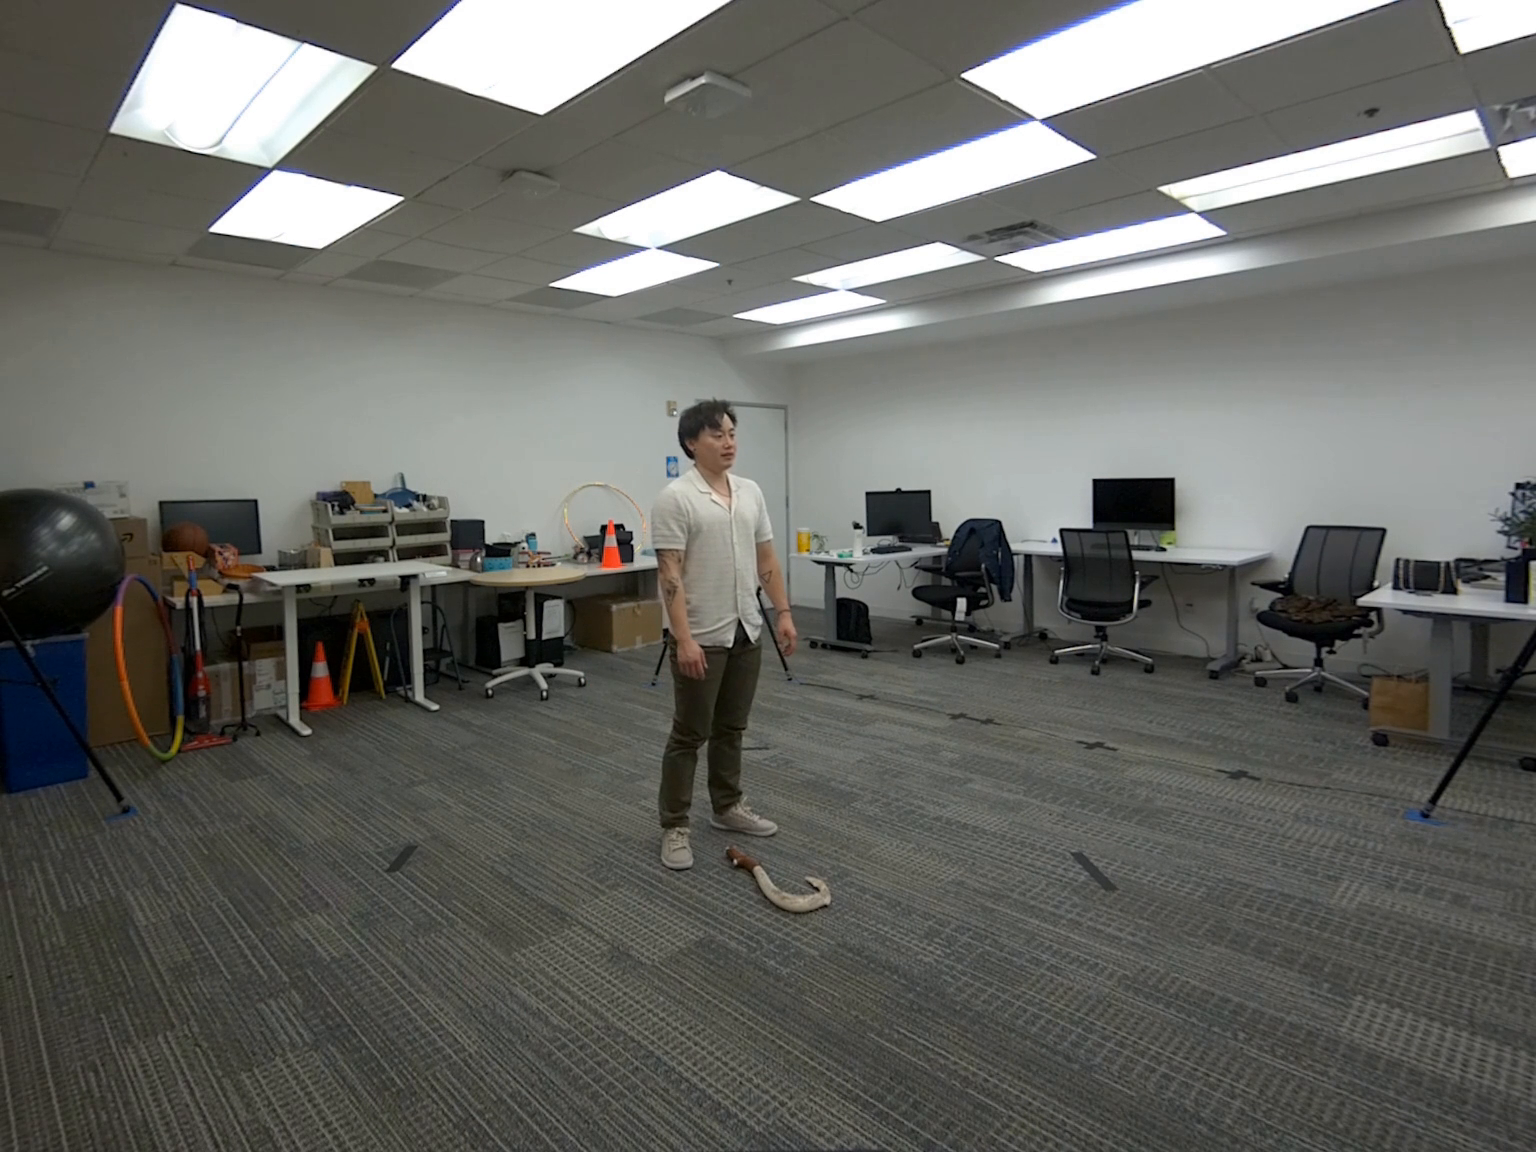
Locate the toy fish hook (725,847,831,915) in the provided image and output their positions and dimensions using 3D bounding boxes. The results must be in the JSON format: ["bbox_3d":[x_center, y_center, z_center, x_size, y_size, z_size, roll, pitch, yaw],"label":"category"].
[{"bbox_3d":[0.032,1.044,2.973,0.218,0.048,0.521,4,3,-31],"label":"toy fish hook"}]
